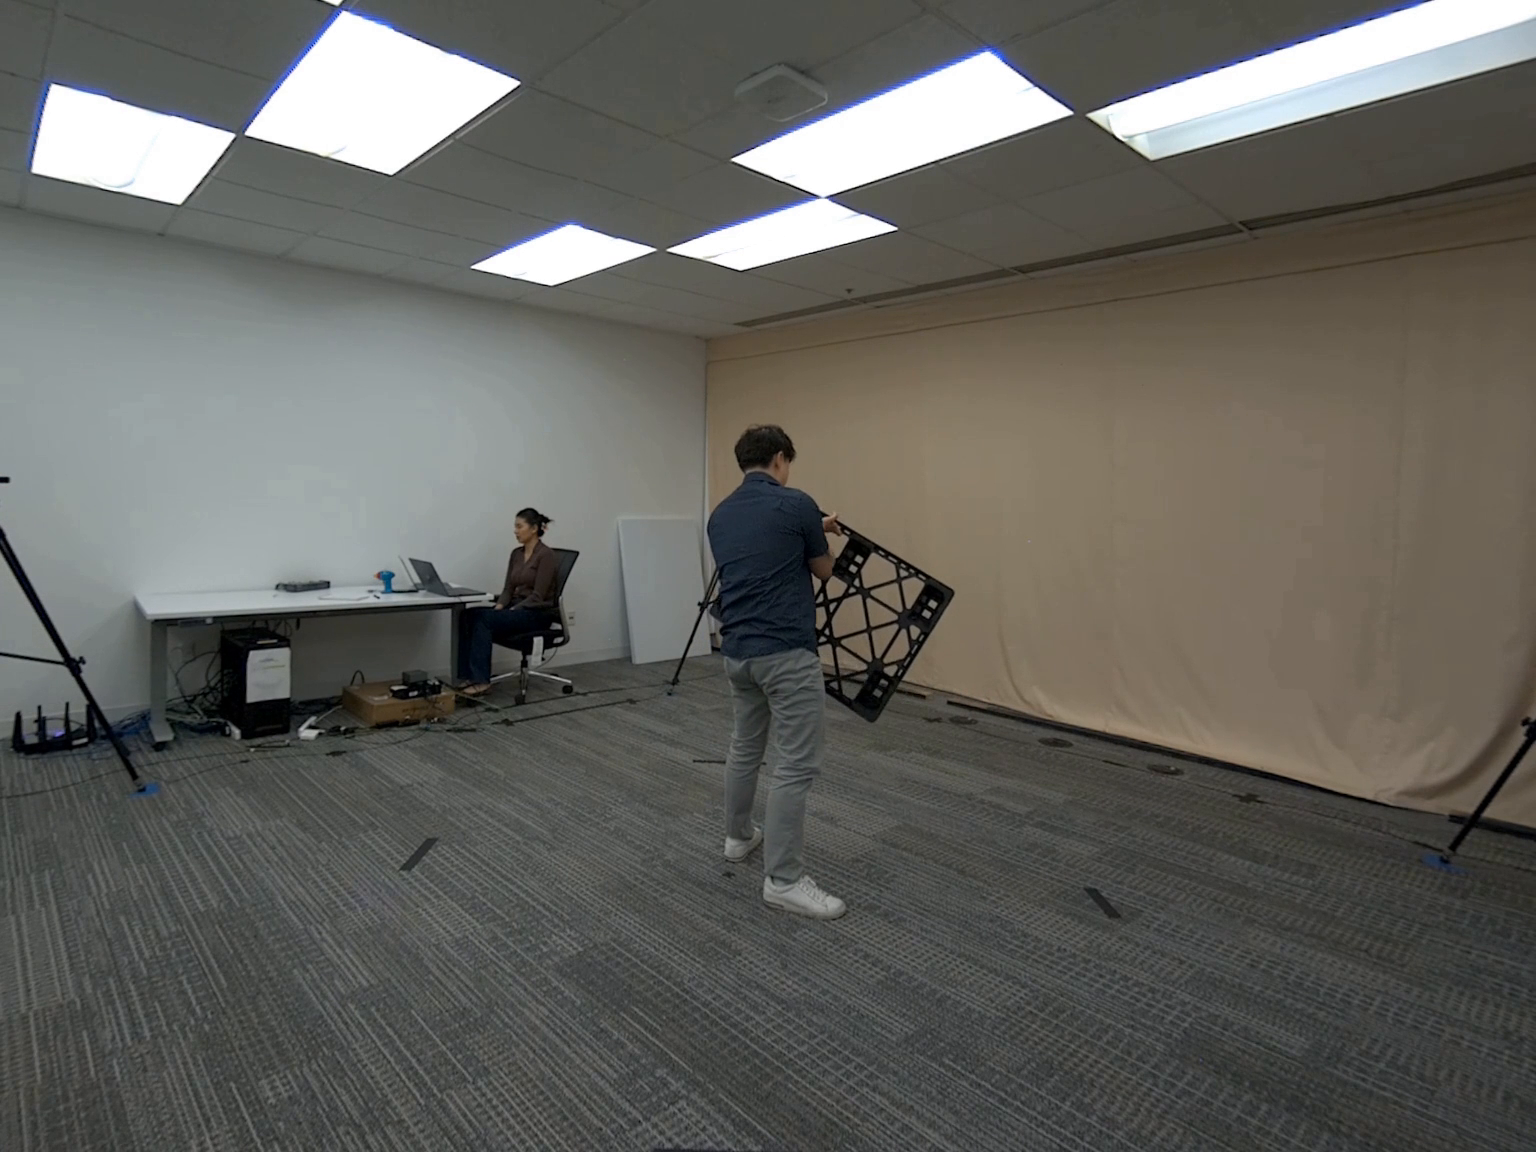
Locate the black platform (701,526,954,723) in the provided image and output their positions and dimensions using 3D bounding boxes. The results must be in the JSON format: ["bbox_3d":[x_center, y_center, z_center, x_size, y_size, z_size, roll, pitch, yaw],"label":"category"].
[{"bbox_3d":[0.245,0.112,3.366,0.820,0.604,0.141,33,6,17],"label":"black platform"}]
